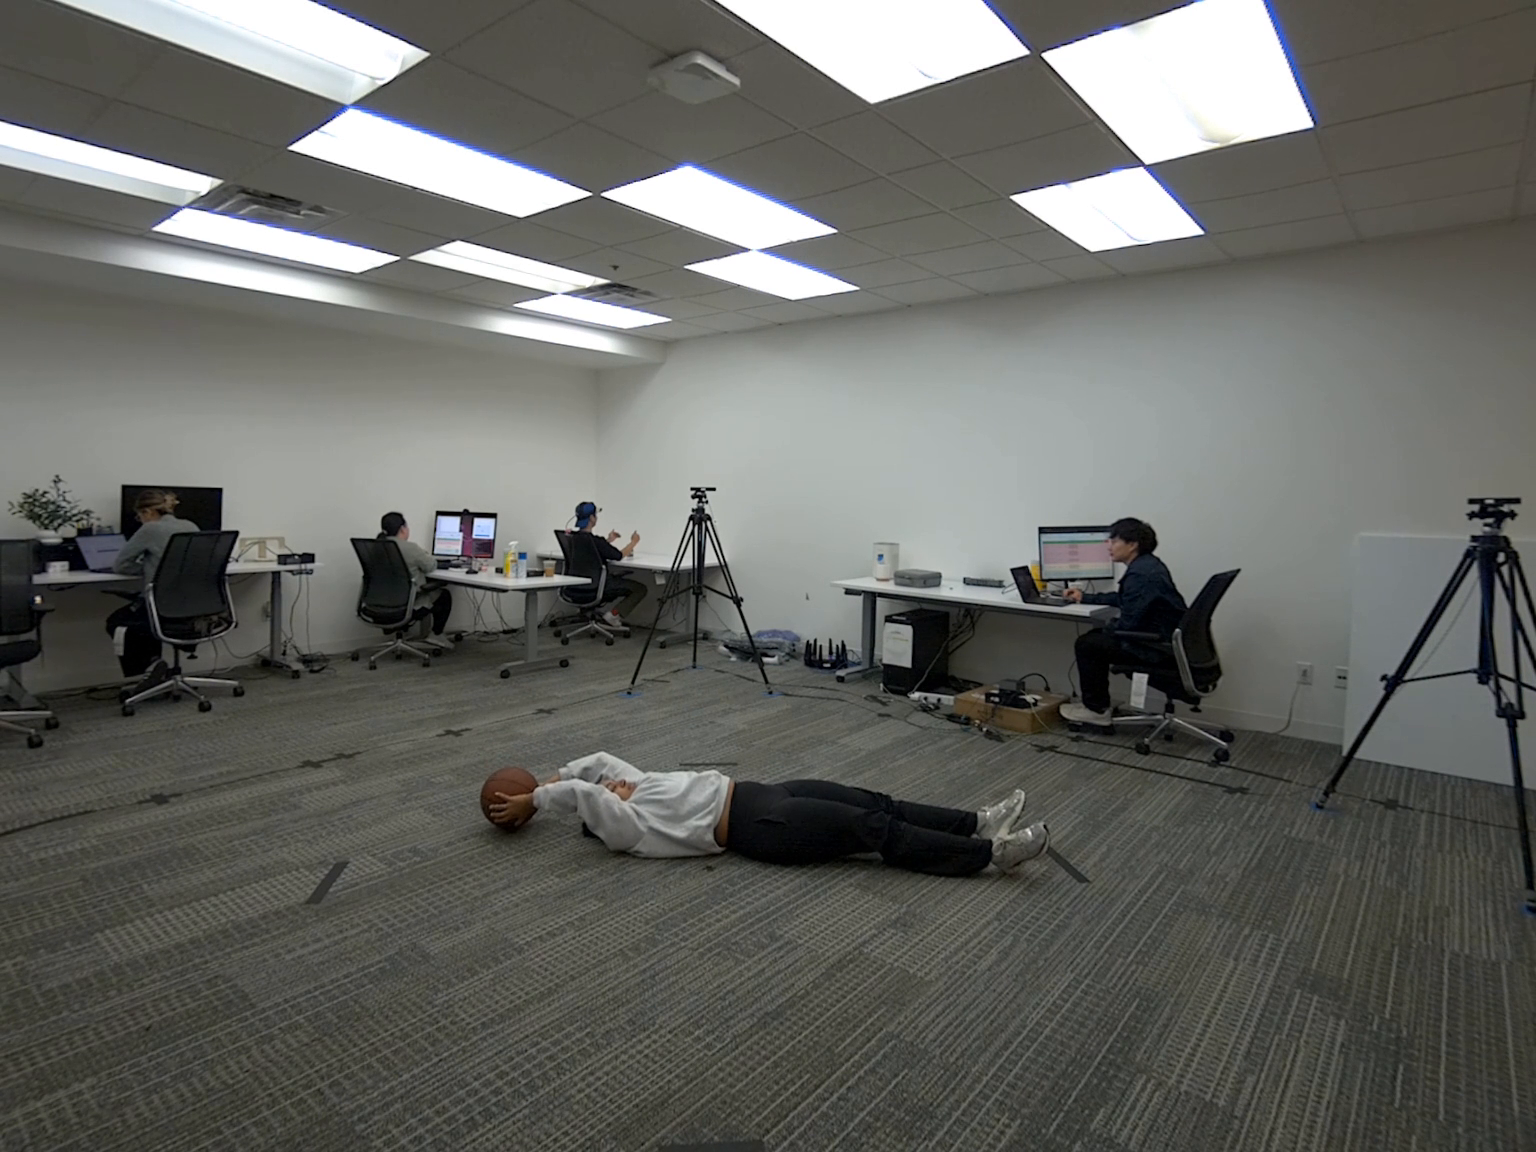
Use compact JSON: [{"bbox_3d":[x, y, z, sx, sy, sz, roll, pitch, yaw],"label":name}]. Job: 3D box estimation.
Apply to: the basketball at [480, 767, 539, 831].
[{"bbox_3d":[-1.053,0.886,3.446,0.236,0.235,0.237,0,4,-2],"label":"basketball"}]
